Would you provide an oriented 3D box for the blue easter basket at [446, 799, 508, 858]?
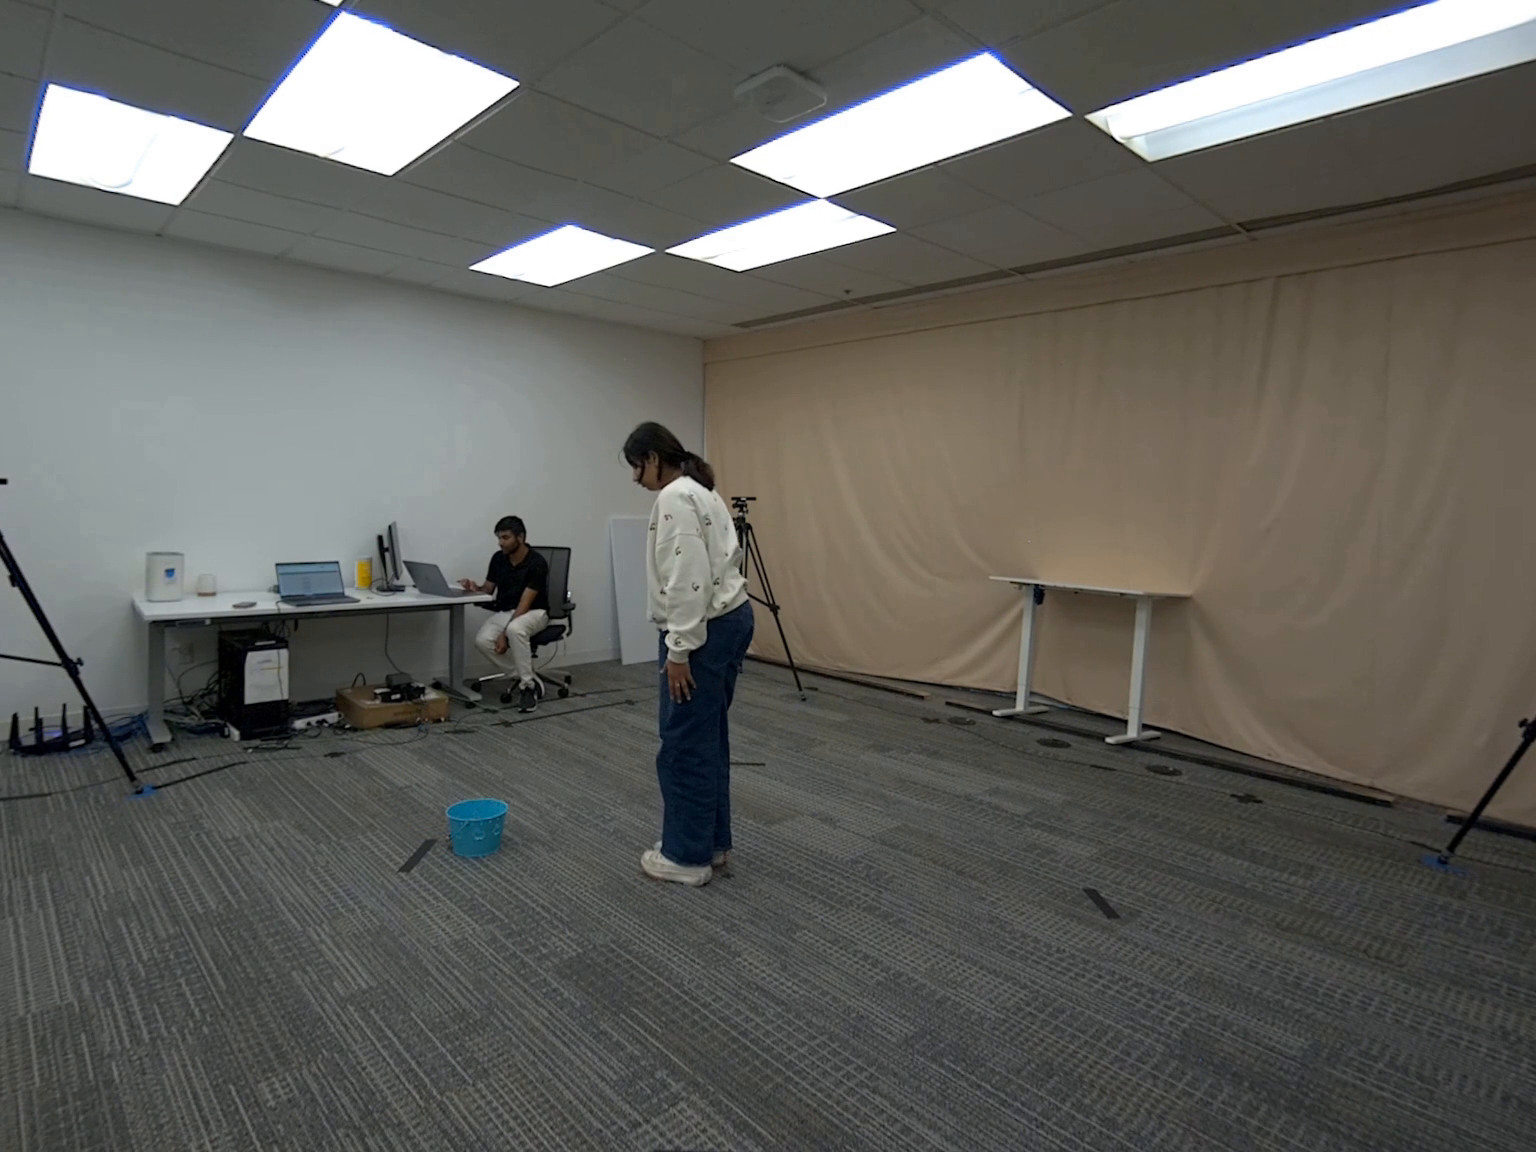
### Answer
[{"bbox_3d":[-1.144,0.983,3.311,0.243,0.155,0.244,2,5,-2],"label":"blue easter basket"}]
